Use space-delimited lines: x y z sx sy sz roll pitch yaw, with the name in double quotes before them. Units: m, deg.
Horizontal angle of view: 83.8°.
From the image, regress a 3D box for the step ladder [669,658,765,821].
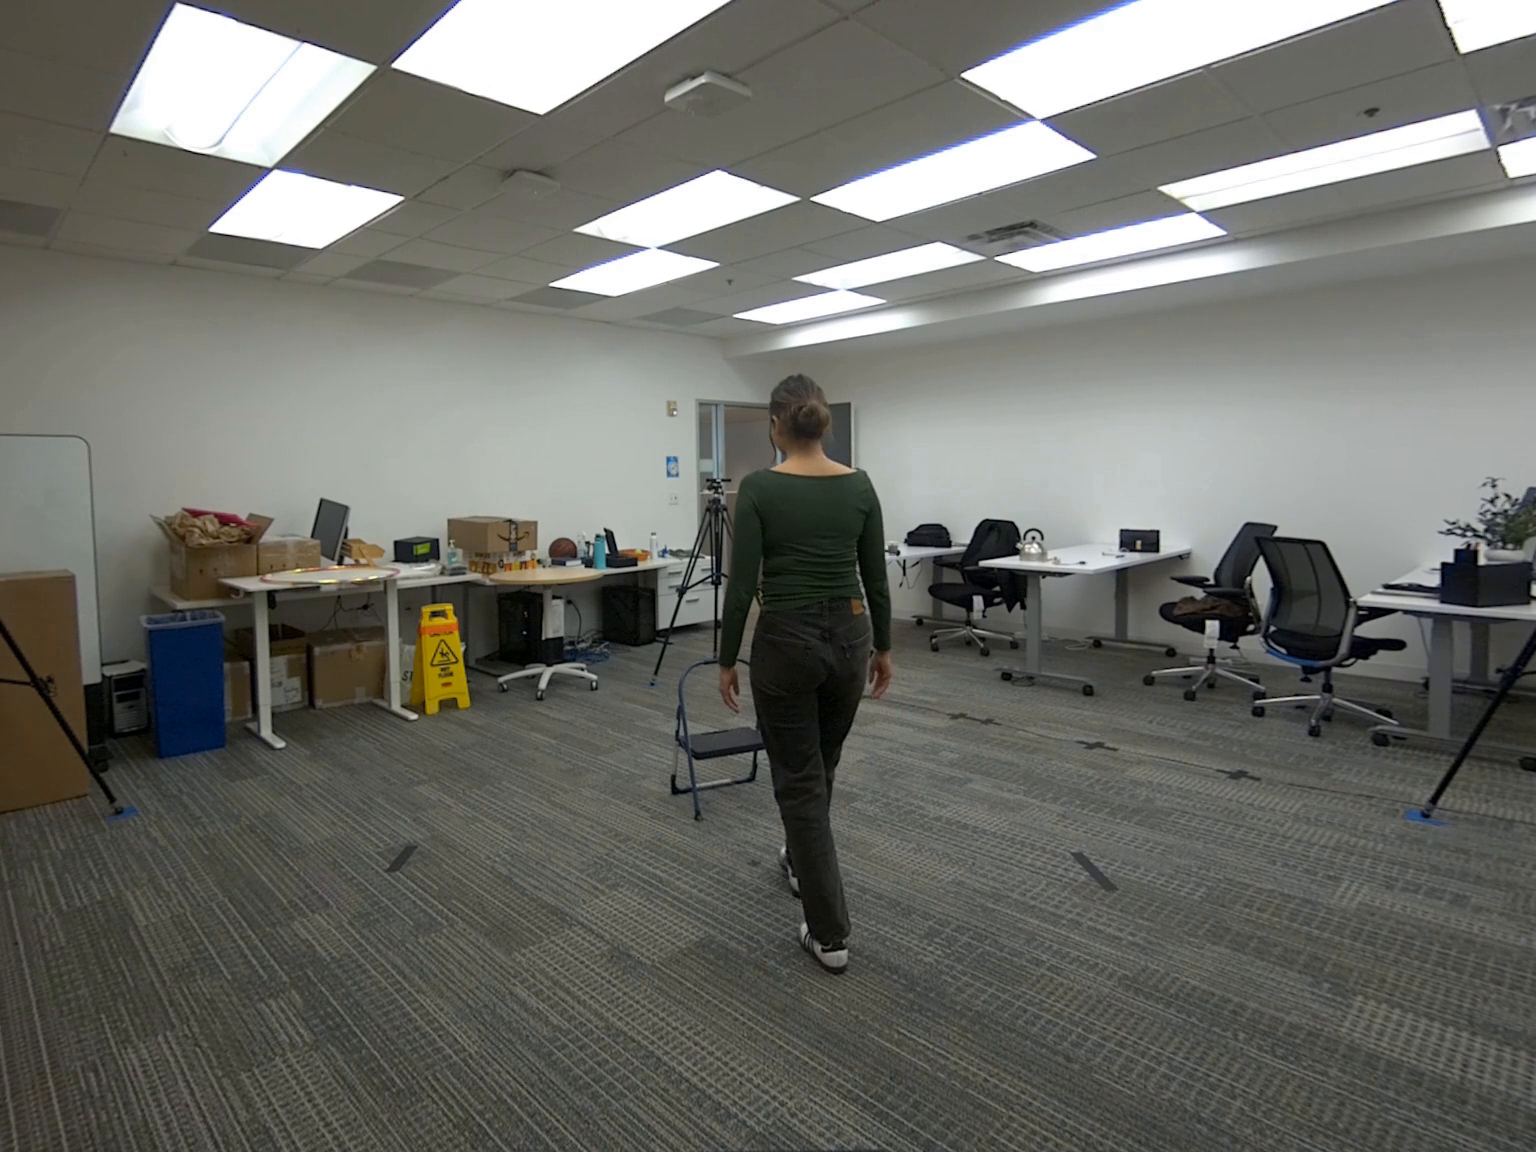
"step ladder" -0.186 0.672 3.725 0.422 0.604 0.358 -3 4 -25
